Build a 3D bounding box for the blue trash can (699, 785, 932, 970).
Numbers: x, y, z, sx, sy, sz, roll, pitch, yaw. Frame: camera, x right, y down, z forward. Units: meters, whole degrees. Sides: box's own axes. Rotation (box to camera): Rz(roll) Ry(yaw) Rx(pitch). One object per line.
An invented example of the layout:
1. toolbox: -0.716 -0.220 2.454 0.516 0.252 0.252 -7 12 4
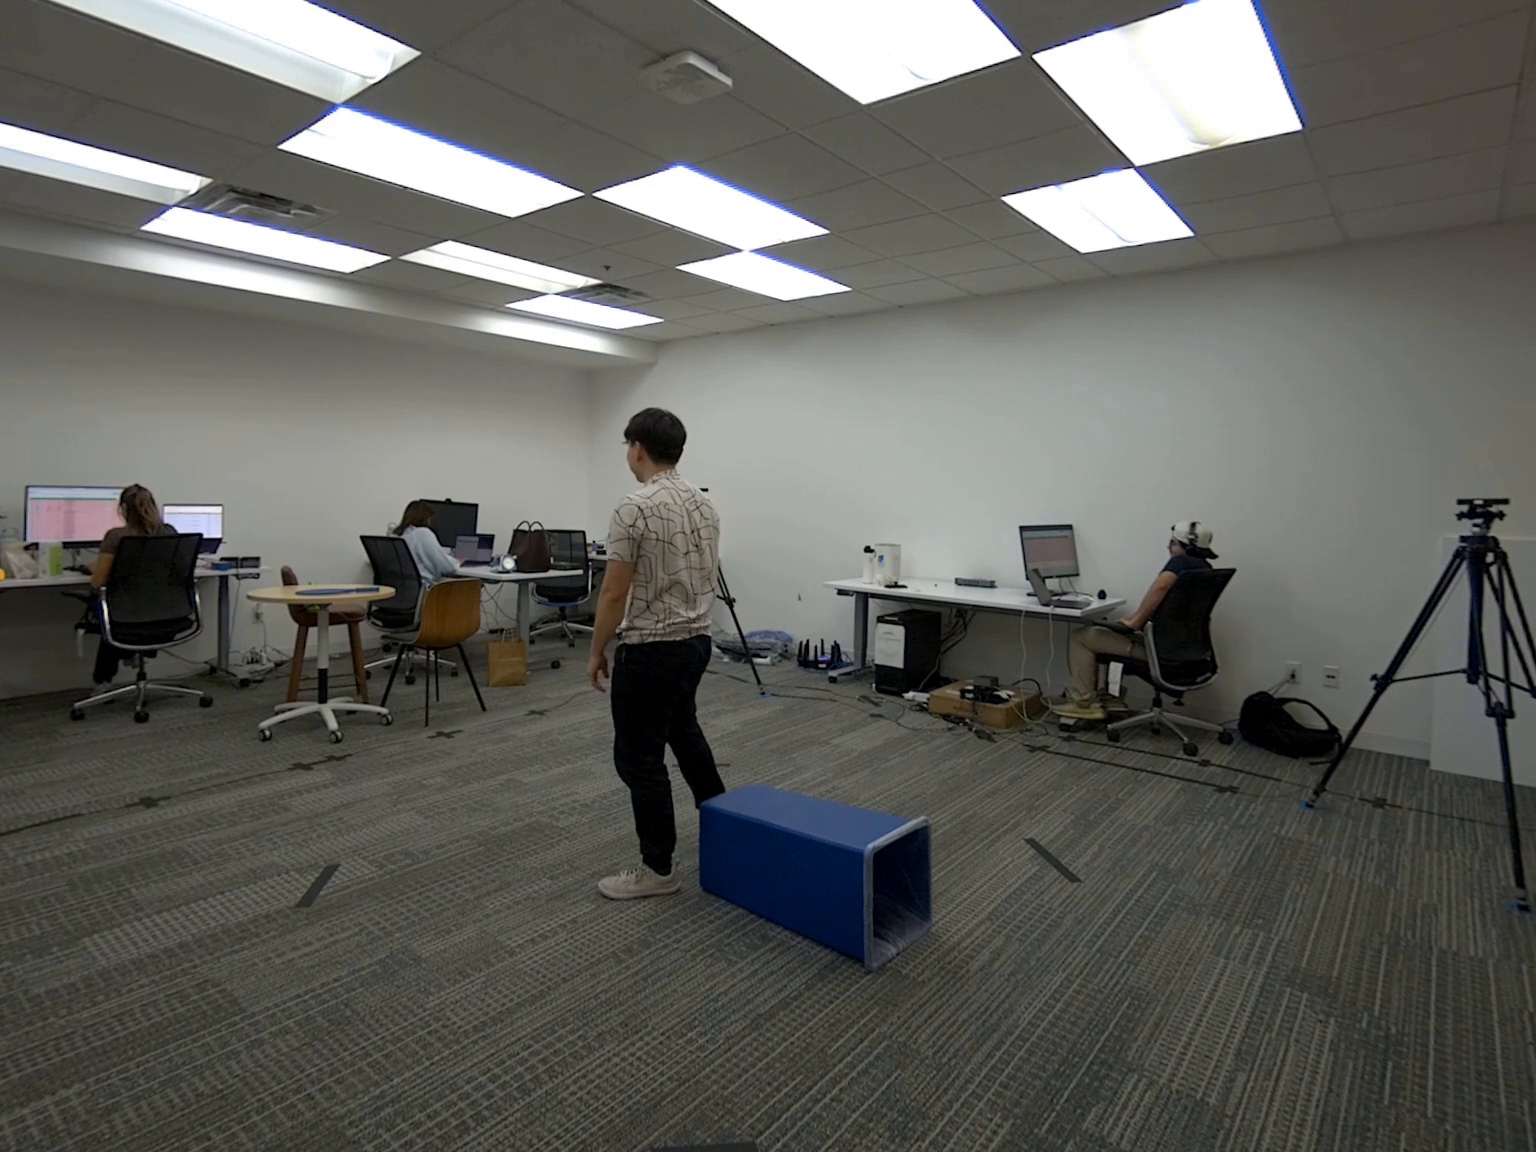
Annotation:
1. blue trash can: 0.124 0.933 2.822 0.737 0.377 0.363 3 5 42
